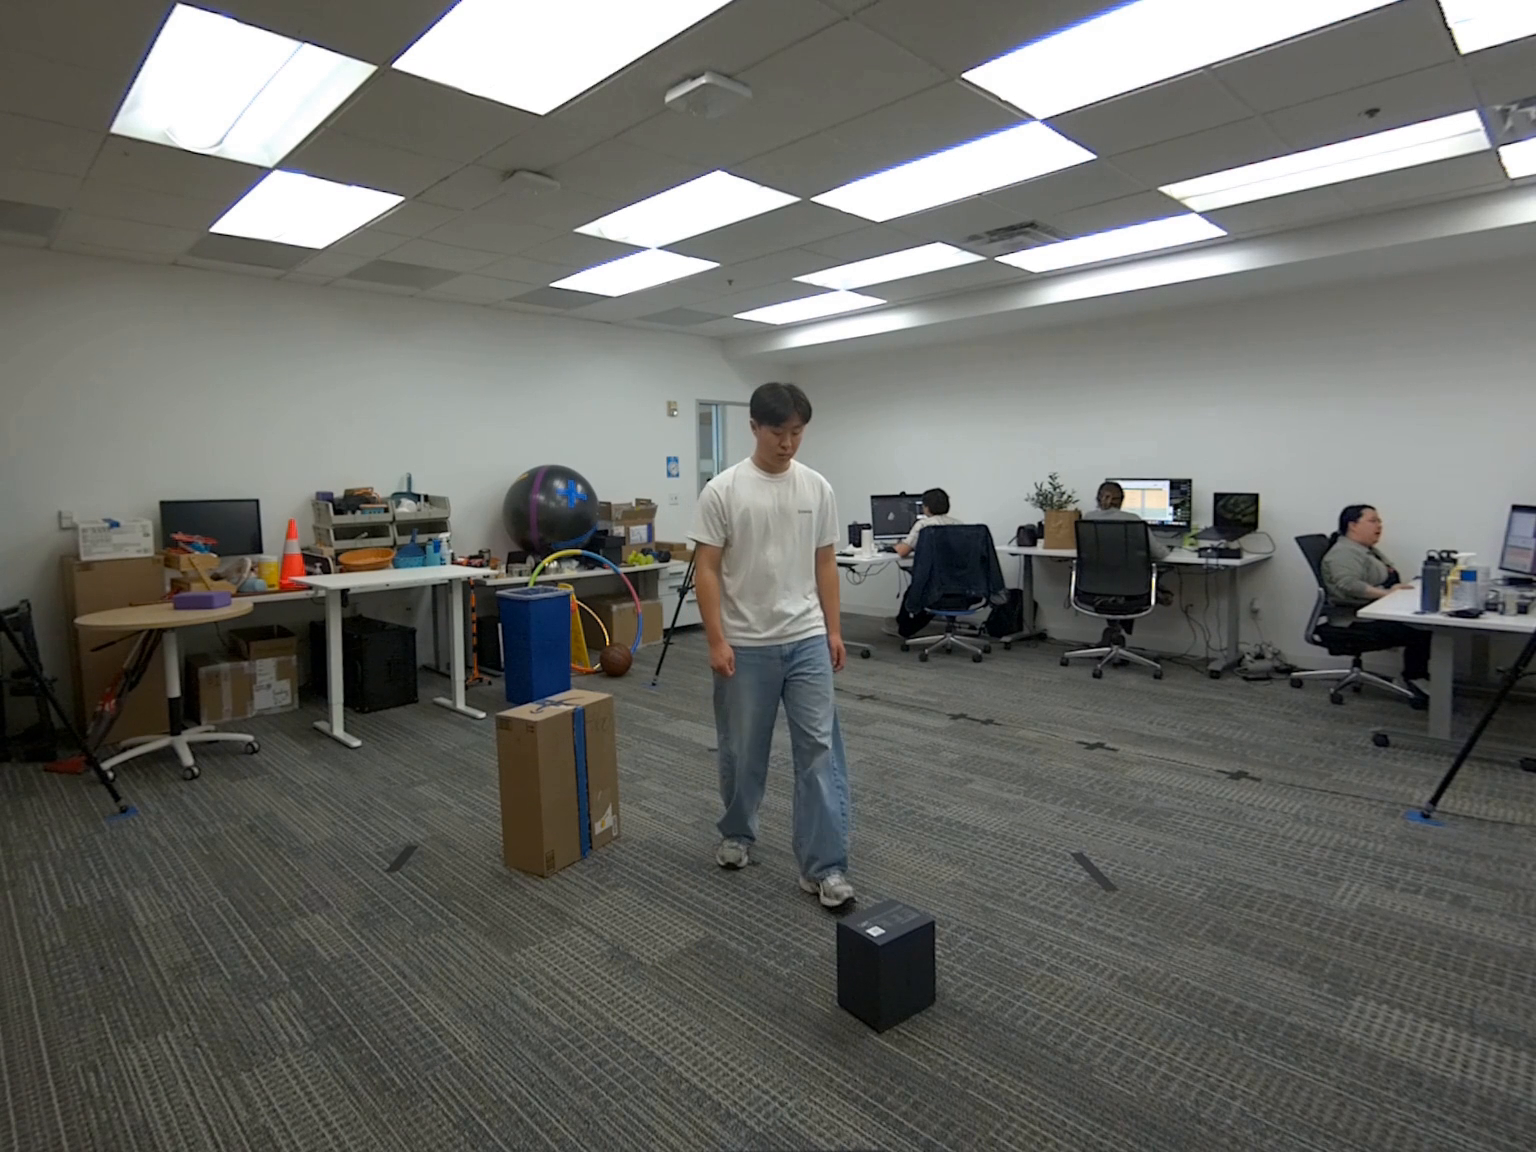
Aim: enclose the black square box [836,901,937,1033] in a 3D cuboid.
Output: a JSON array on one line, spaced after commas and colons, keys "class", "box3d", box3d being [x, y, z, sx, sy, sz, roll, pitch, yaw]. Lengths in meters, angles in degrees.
[{"class": "black square box", "box3d": [0.317, 1.022, 2.258, 0.211, 0.227, 0.160, -5, 5, -38]}]
